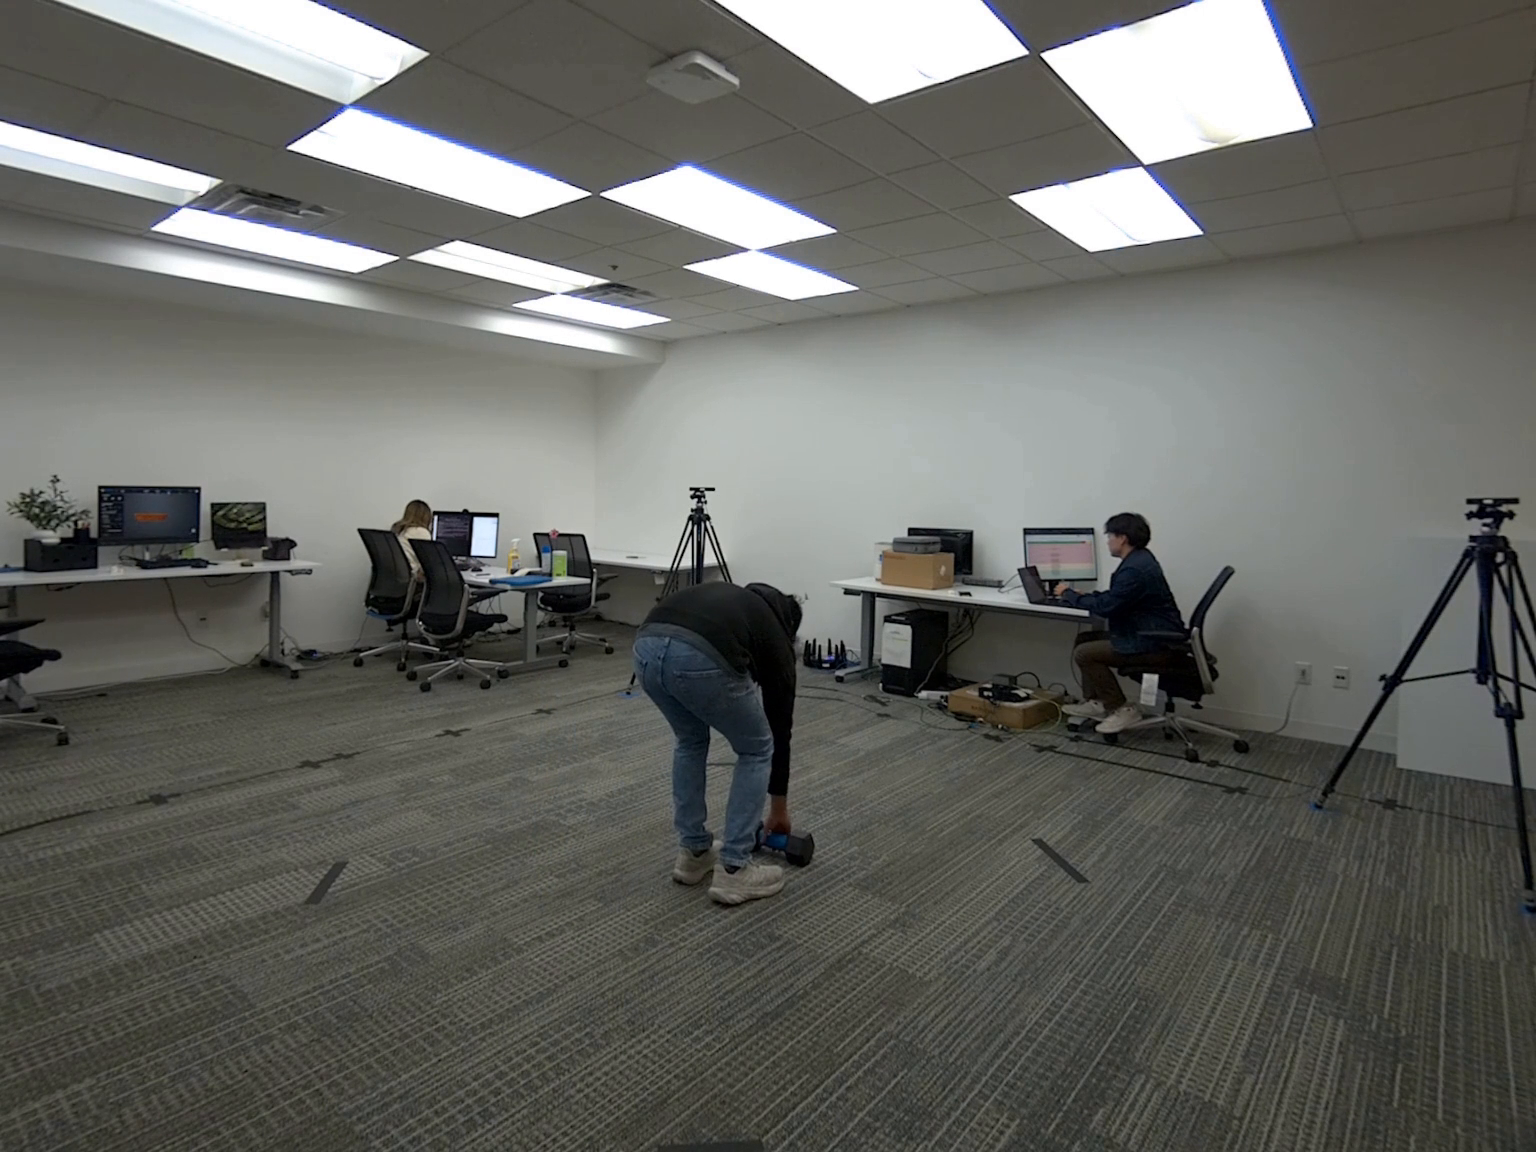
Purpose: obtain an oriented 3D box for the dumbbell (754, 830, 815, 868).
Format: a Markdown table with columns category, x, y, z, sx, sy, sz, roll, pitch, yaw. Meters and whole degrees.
| category | x | y | z | sx | sy | sz | roll | pitch | yaw |
| --- | --- | --- | --- | --- | --- | --- | --- | --- | --- |
| dumbbell | 0.017 | 1.003 | 3.236 | 0.302 | 0.119 | 0.109 | 4 | 35 | 32 |
